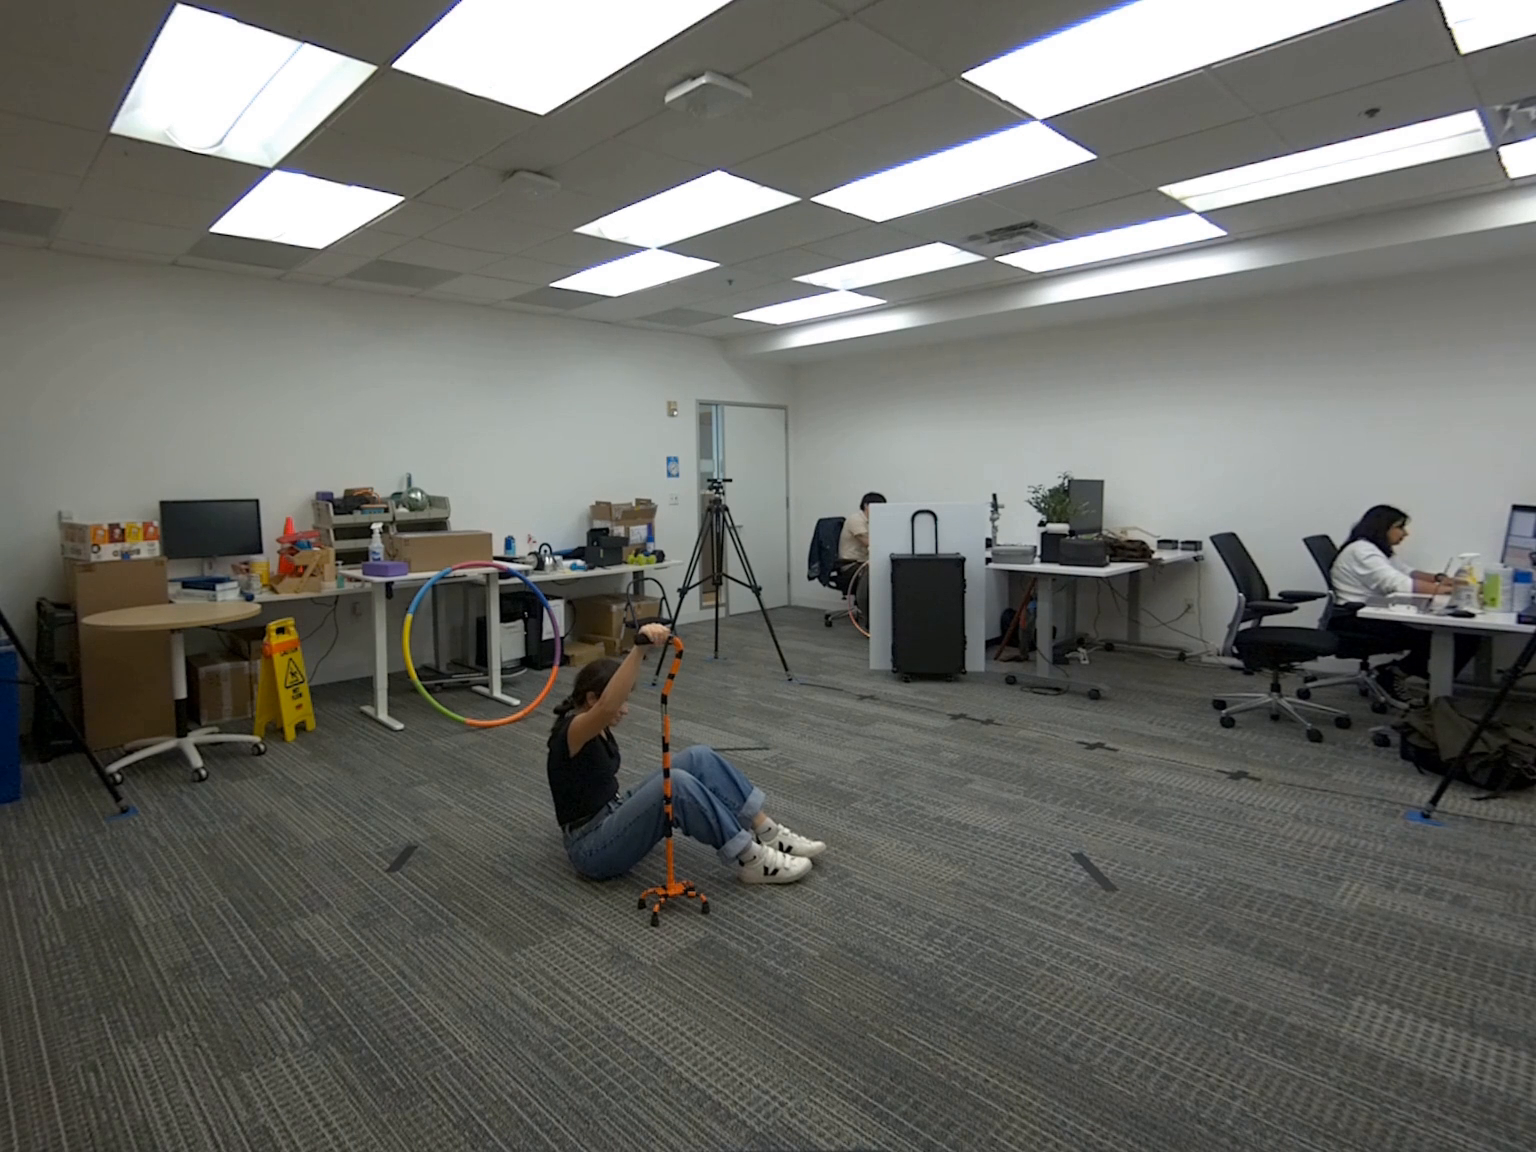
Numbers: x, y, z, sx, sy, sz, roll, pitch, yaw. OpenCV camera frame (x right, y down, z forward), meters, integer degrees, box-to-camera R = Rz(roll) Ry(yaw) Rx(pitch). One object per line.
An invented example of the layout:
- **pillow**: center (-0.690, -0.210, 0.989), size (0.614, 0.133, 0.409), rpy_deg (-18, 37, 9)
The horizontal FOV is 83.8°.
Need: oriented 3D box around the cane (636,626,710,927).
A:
- **cane**: center (-0.321, 0.633, 2.757), size (0.202, 0.905, 0.155), rpy_deg (-3, 3, -28)
